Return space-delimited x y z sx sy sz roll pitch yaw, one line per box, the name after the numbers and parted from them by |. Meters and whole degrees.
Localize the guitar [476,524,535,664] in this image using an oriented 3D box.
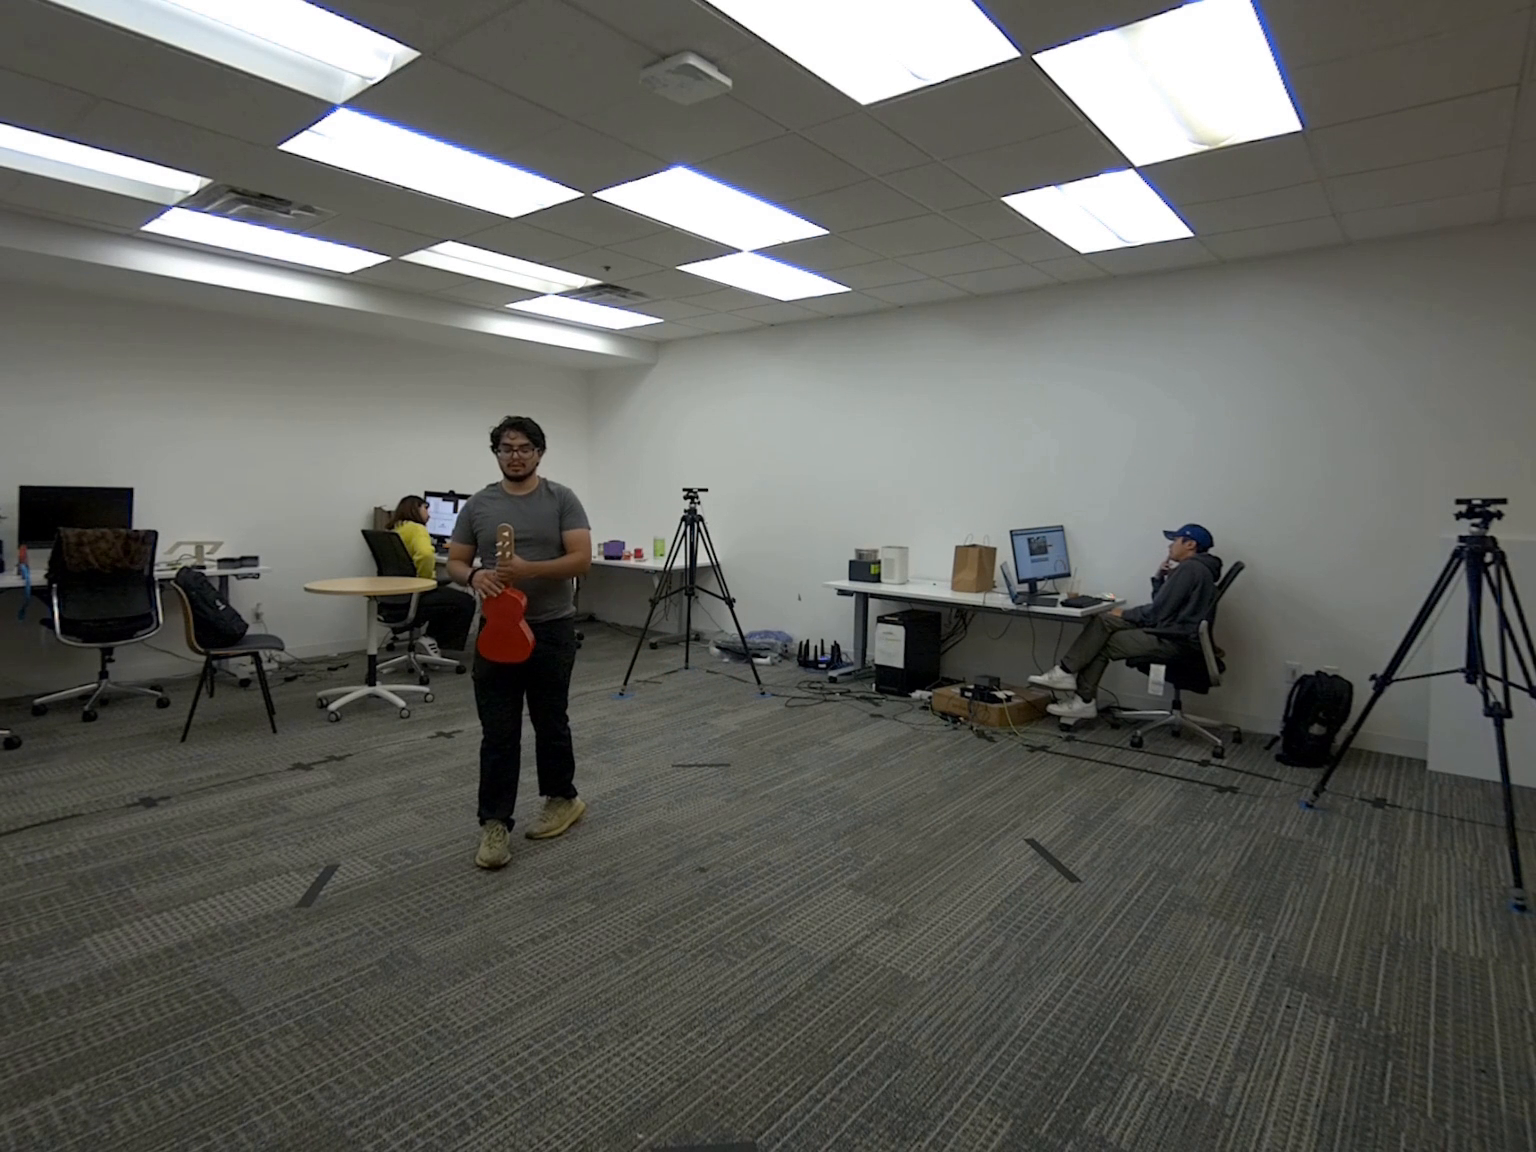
-0.968 0.067 3.007 0.194 0.489 0.071 -1 17 4 | guitar
